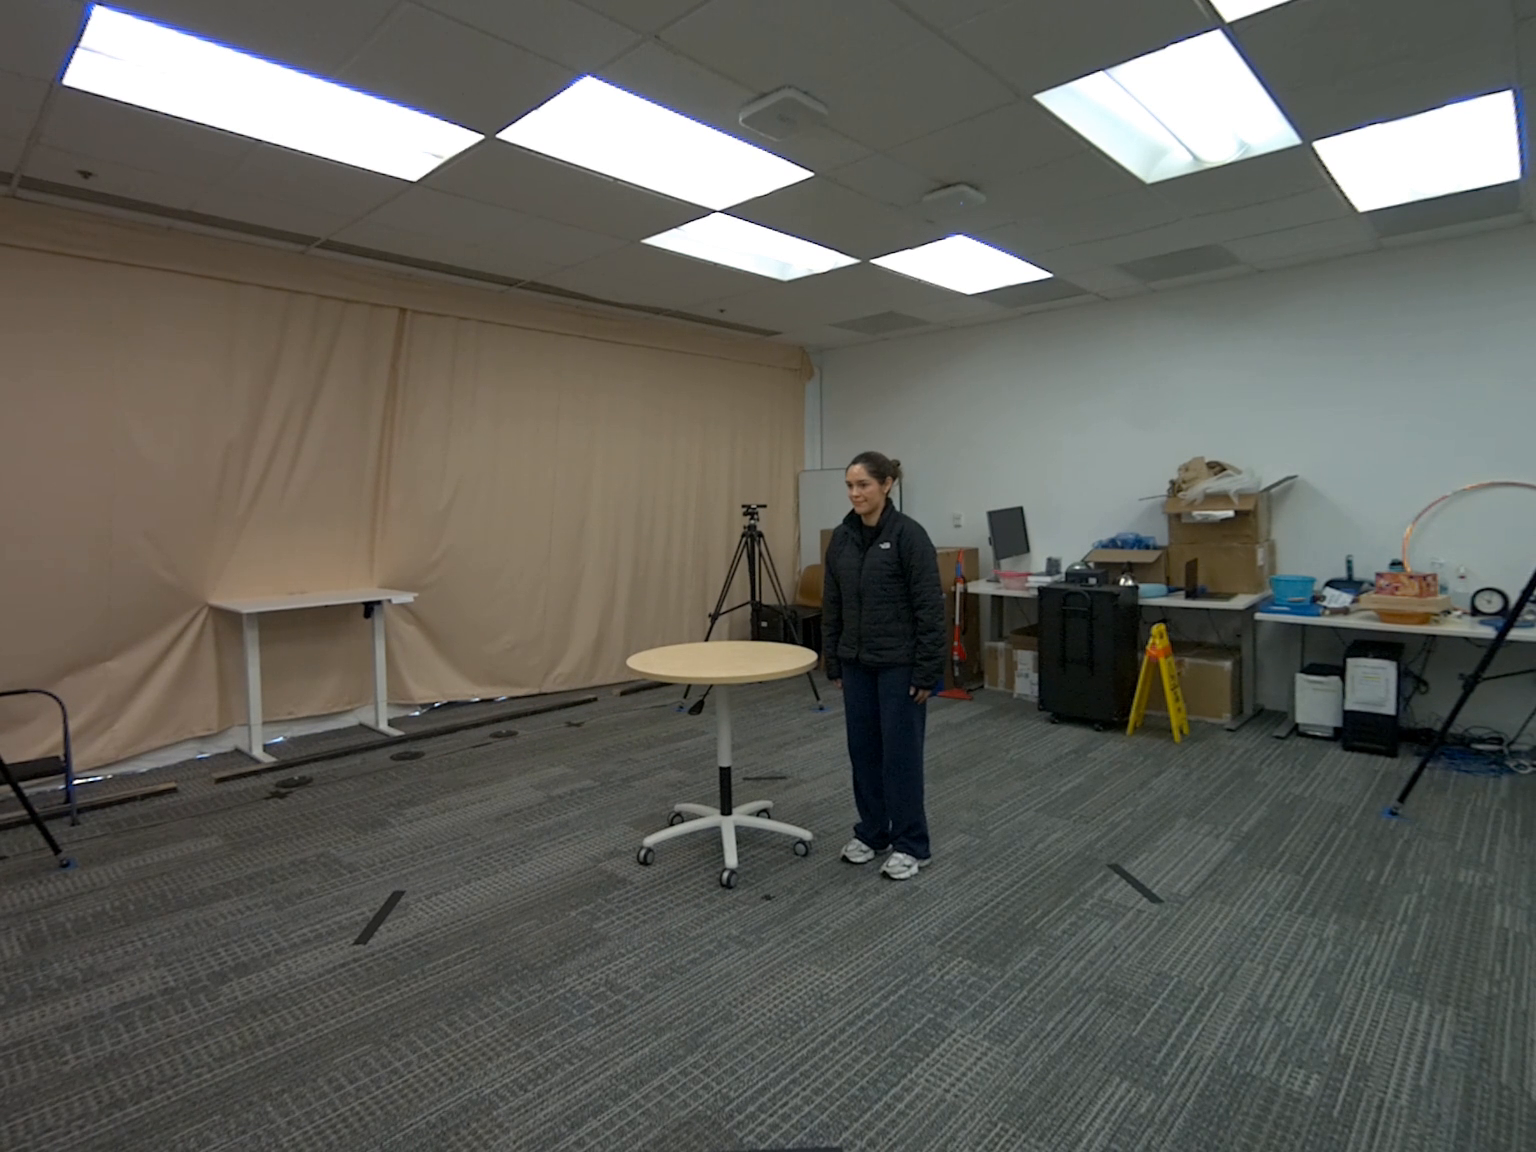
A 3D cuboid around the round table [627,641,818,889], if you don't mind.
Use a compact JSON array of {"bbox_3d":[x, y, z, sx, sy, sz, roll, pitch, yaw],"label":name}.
[{"bbox_3d":[-0.156,0.717,3.399,0.784,0.785,0.788,-2,4,-2],"label":"round table"}]
